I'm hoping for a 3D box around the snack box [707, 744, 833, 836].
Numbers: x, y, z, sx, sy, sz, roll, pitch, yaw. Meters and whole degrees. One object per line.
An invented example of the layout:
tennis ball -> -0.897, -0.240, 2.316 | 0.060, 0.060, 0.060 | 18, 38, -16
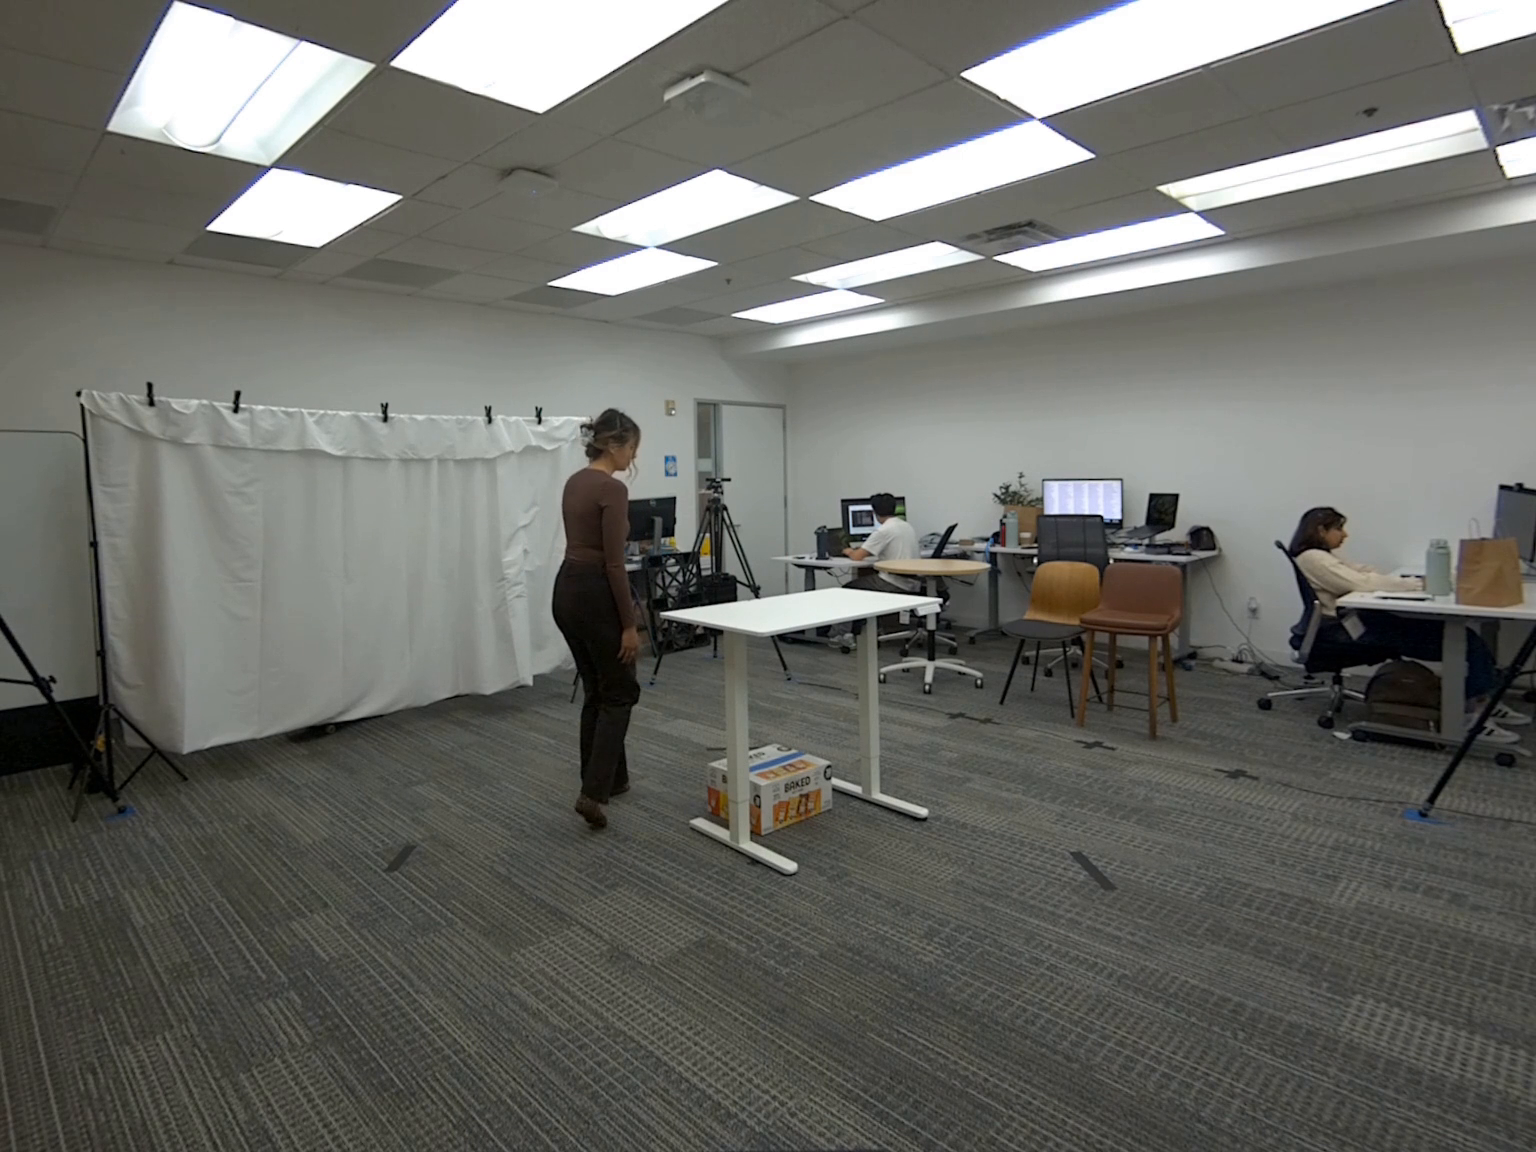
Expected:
snack box -> 0.007, 0.886, 3.583 | 0.394, 0.205, 0.351 | -6, 8, -41
